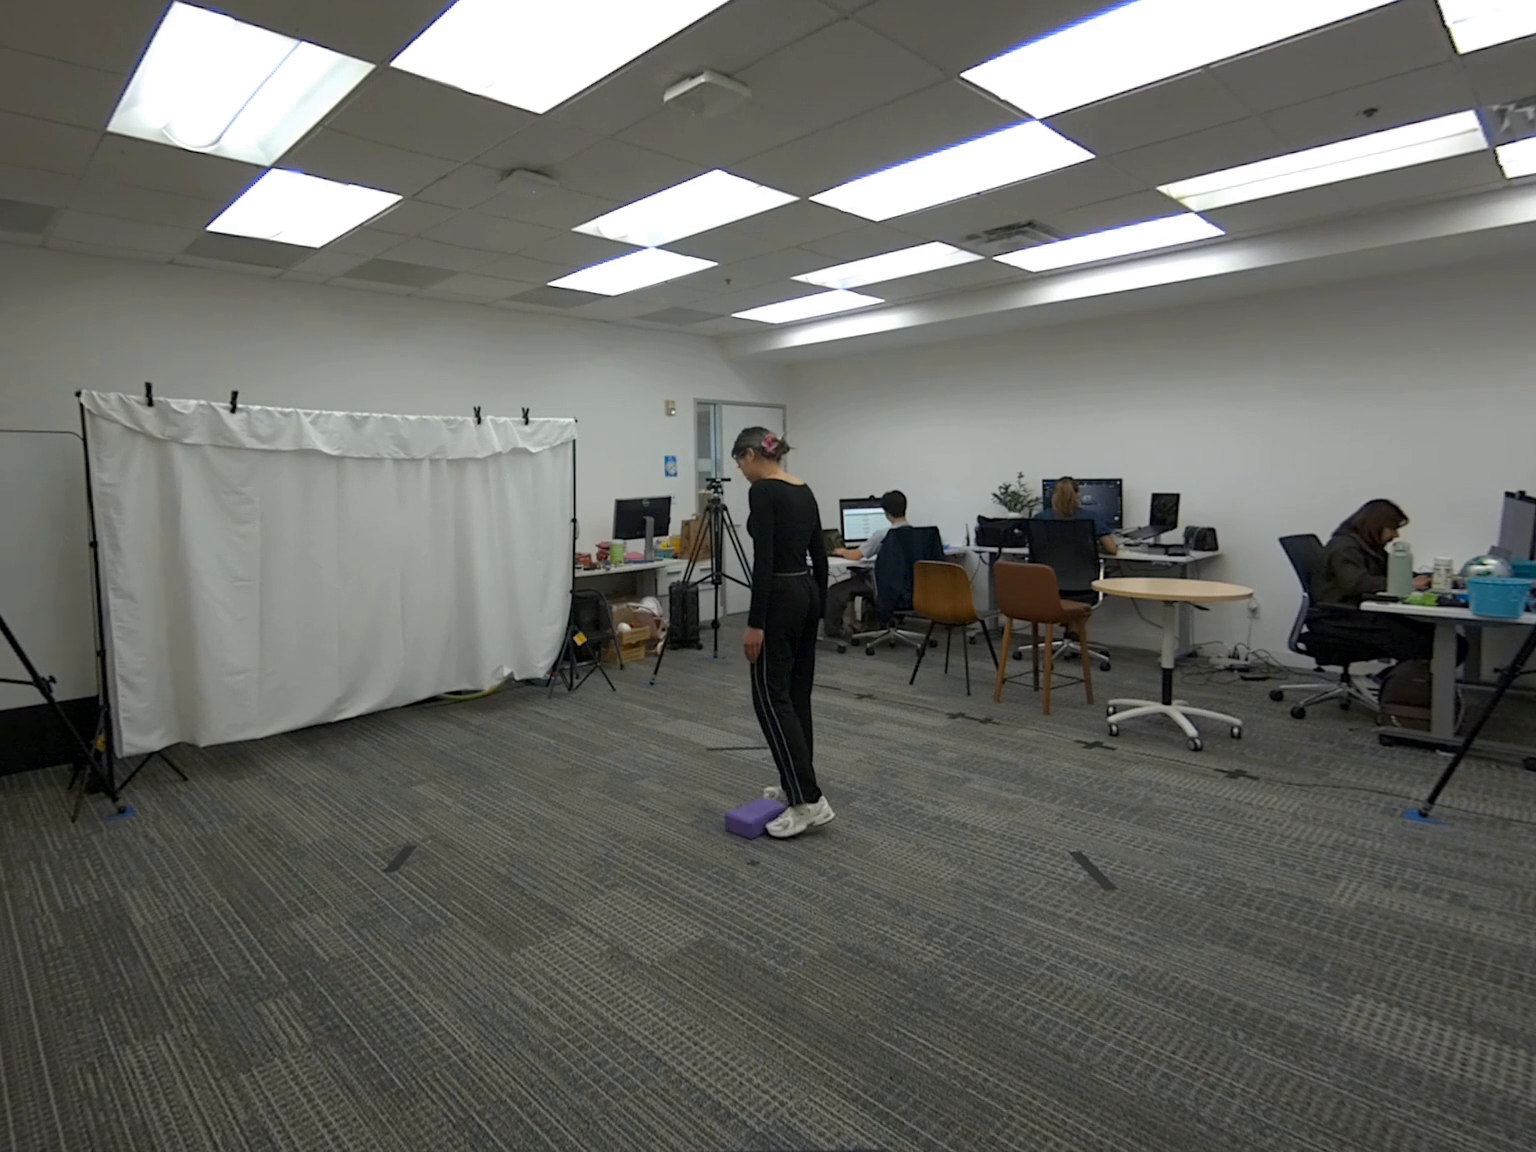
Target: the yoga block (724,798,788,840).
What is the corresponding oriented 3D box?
[{"bbox_3d":[-0.063,0.962,3.446,0.153,0.076,0.223,5,8,45],"label":"yoga block"}]
